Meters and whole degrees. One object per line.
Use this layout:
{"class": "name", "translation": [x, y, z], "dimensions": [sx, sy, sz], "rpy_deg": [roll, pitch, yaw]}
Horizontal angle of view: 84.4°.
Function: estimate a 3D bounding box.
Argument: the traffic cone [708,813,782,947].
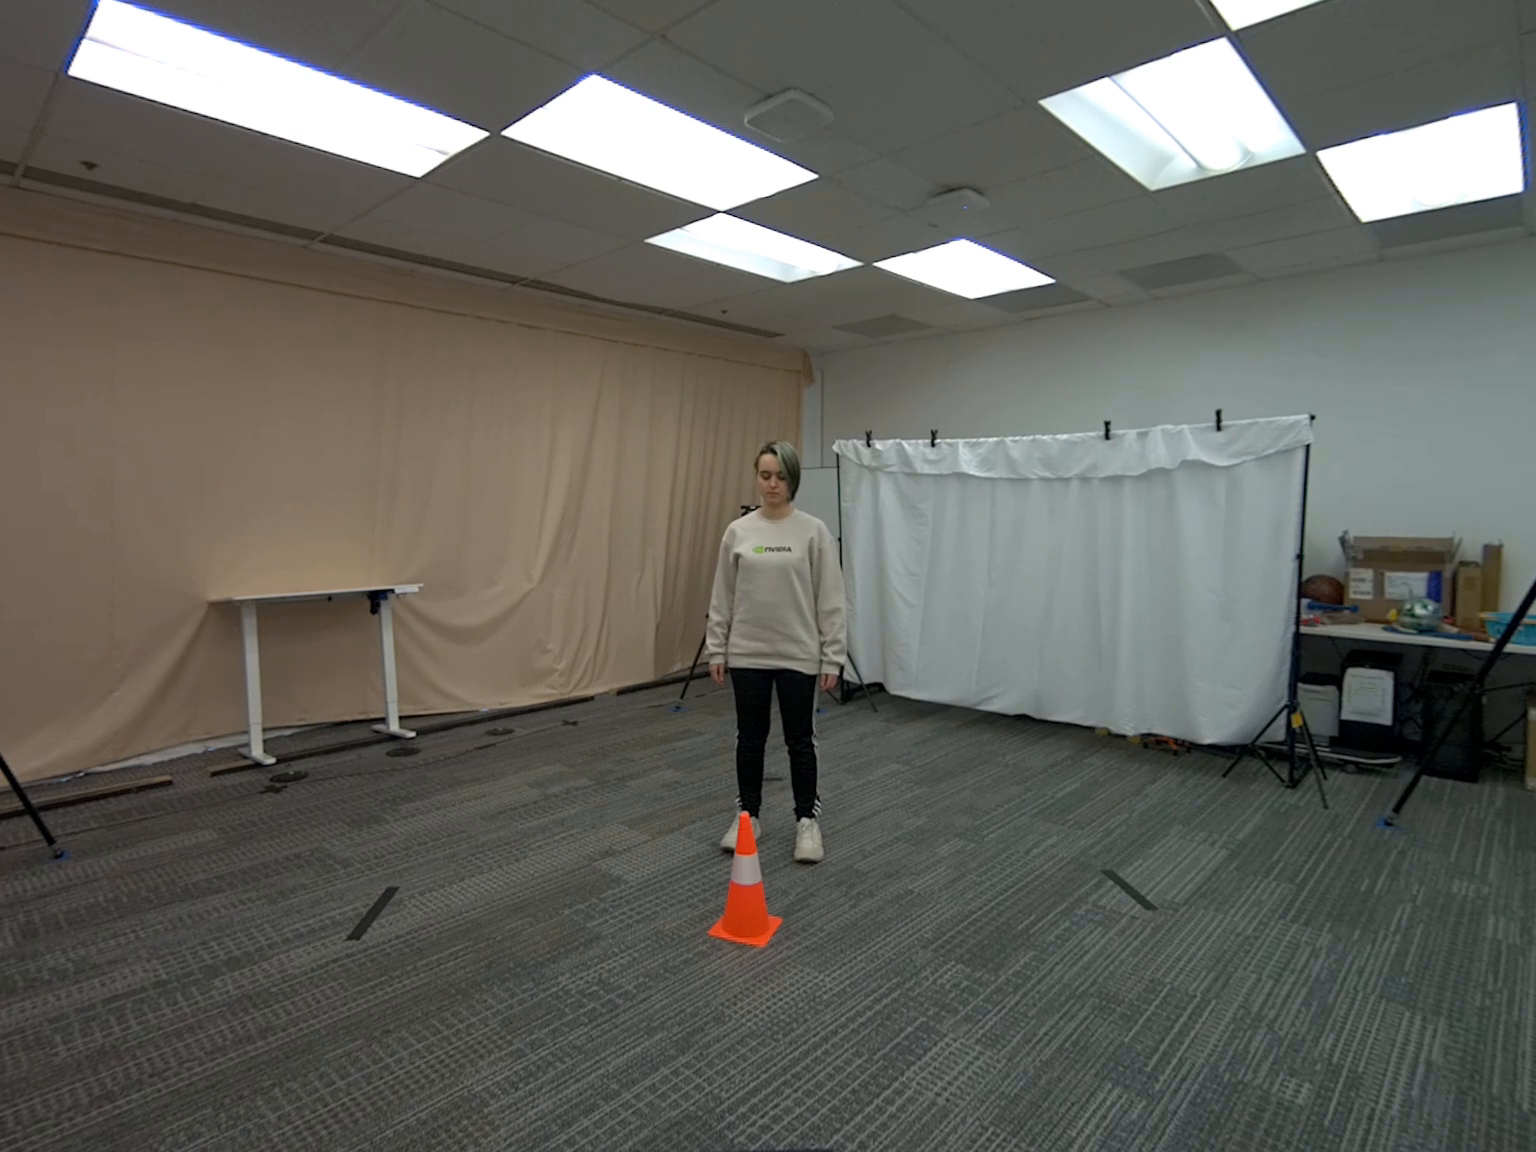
{"class": "traffic cone", "translation": [-0.076, 0.971, 2.777], "dimensions": [0.210, 0.383, 0.199], "rpy_deg": [0, 3, 22]}
